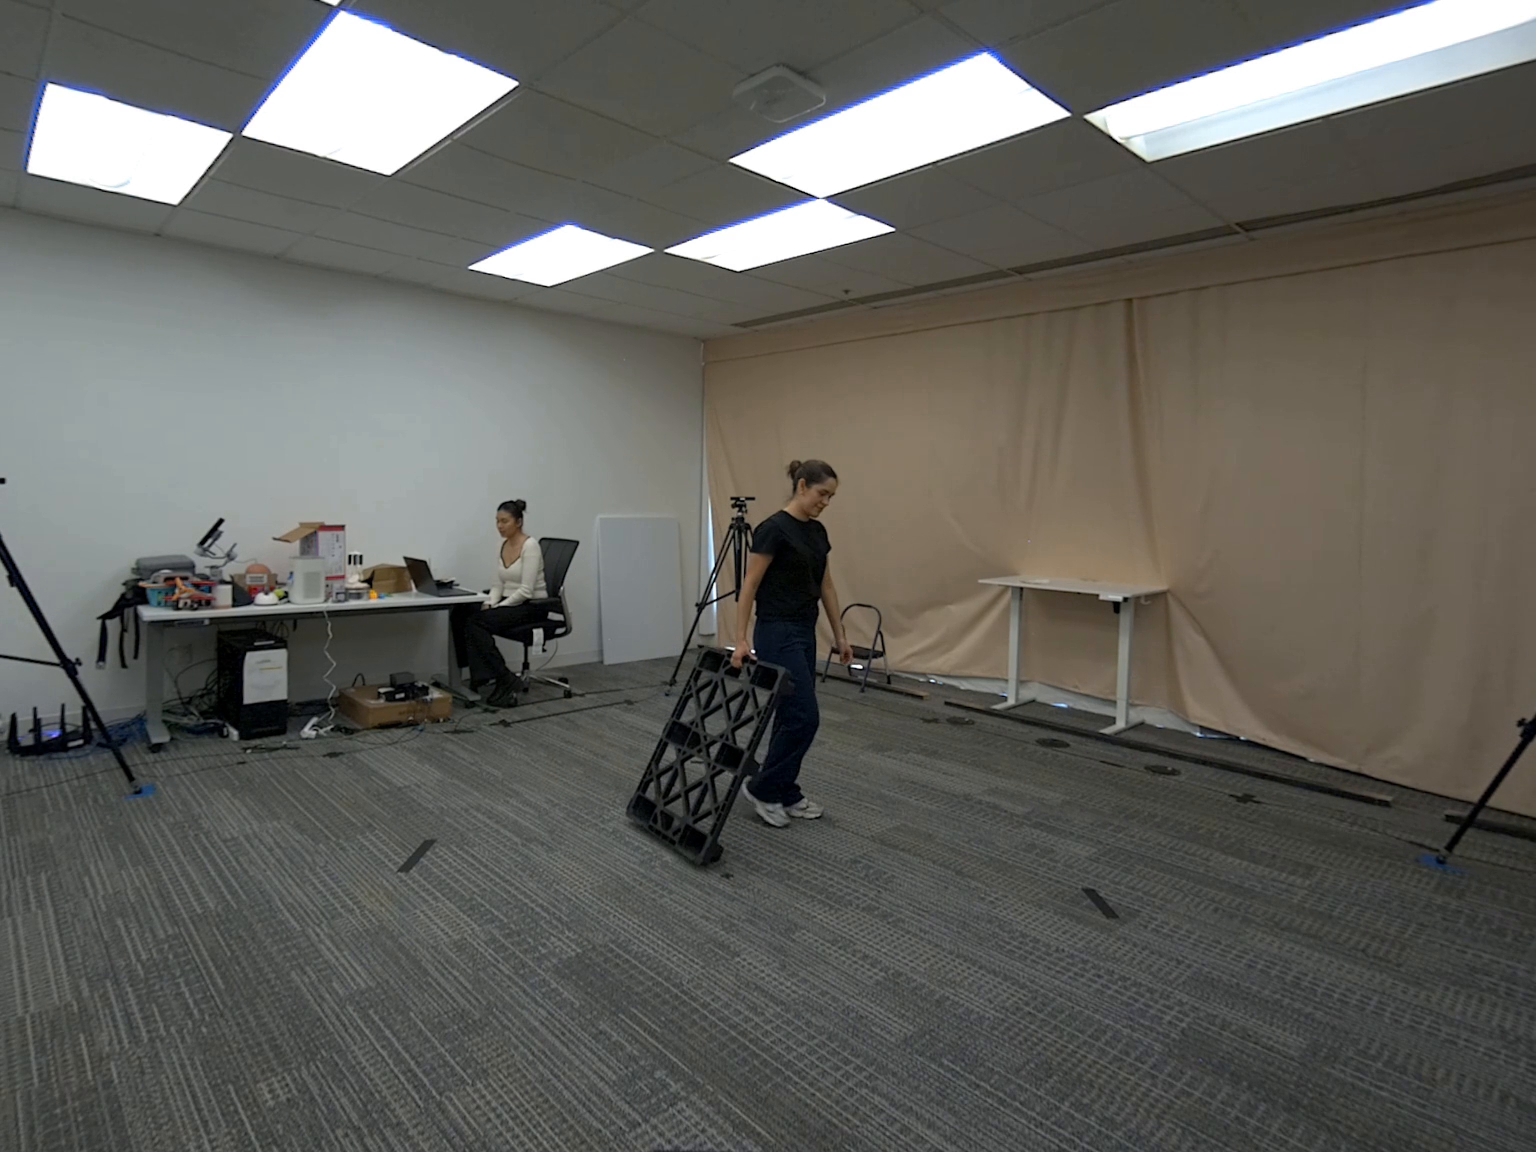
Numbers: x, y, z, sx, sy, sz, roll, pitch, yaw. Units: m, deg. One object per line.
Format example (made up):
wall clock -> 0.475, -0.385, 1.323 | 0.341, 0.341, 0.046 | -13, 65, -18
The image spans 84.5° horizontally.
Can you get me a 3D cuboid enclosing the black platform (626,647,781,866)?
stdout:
black platform -> -0.233, 0.715, 3.449 | 0.139, 0.809, 0.620 | 33, -16, -35
